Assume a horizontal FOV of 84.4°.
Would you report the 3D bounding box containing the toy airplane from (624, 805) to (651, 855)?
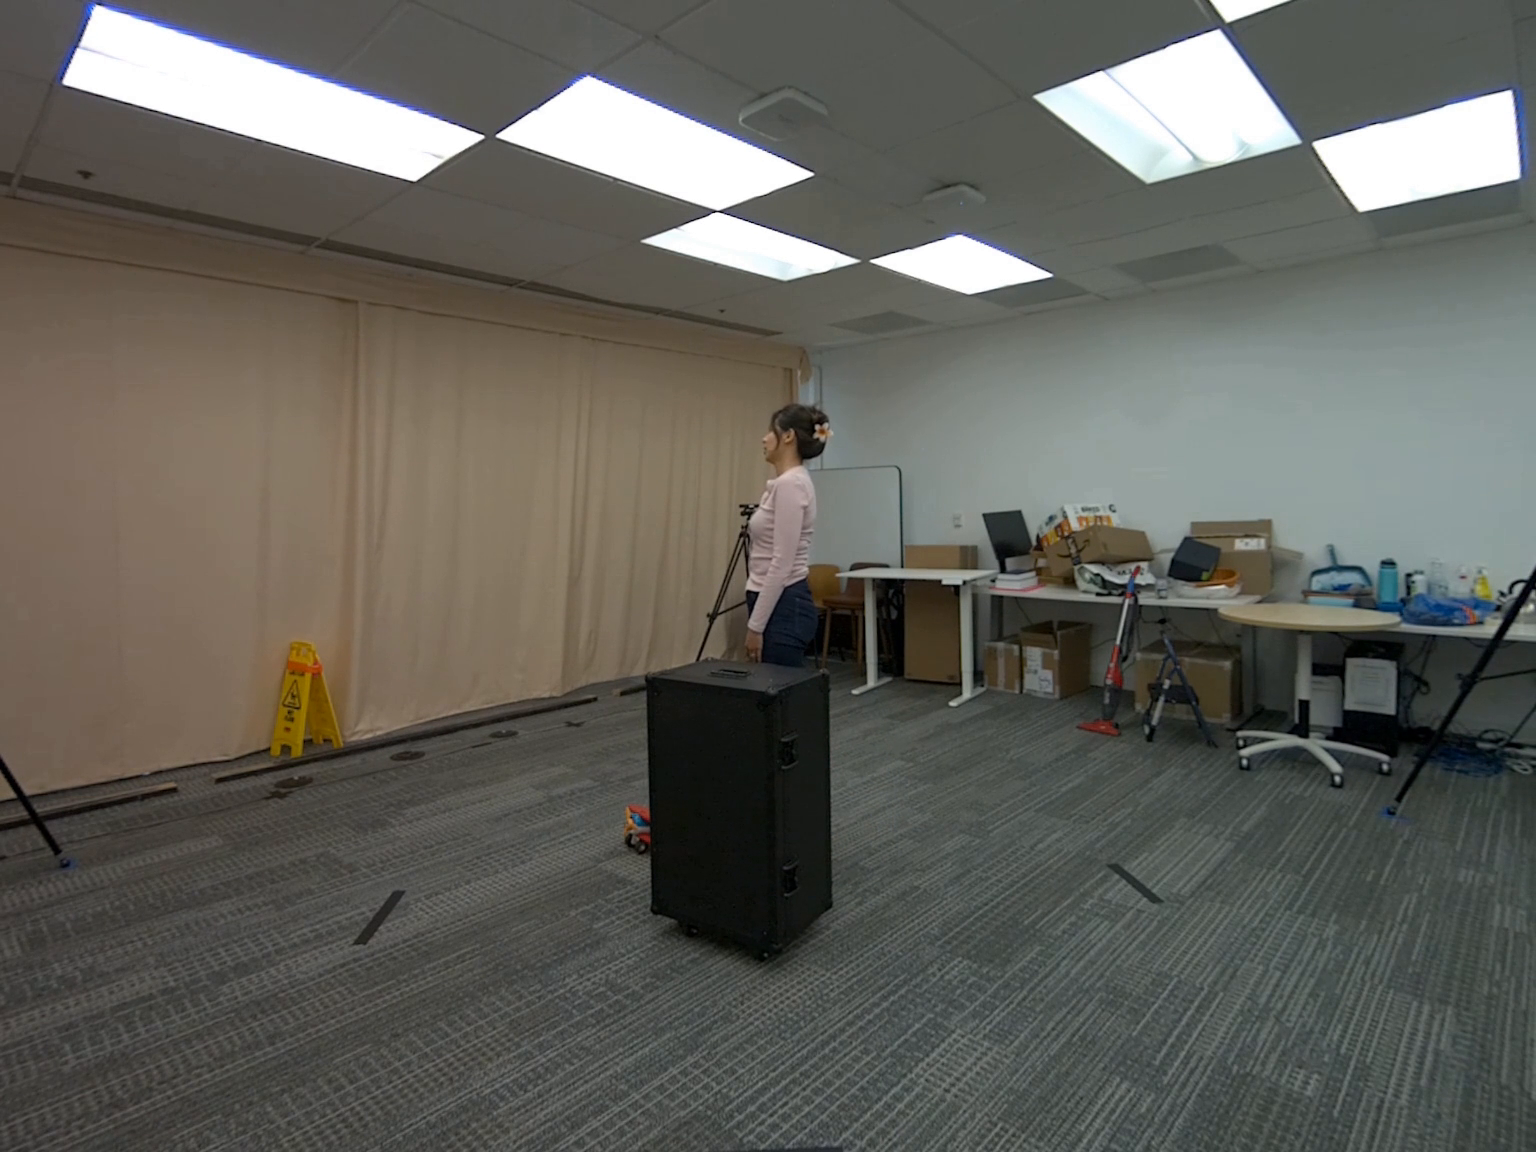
[{"bbox_3d":[-0.480,1.041,3.484,0.257,0.156,0.254,1,8,25],"label":"toy airplane"}]
